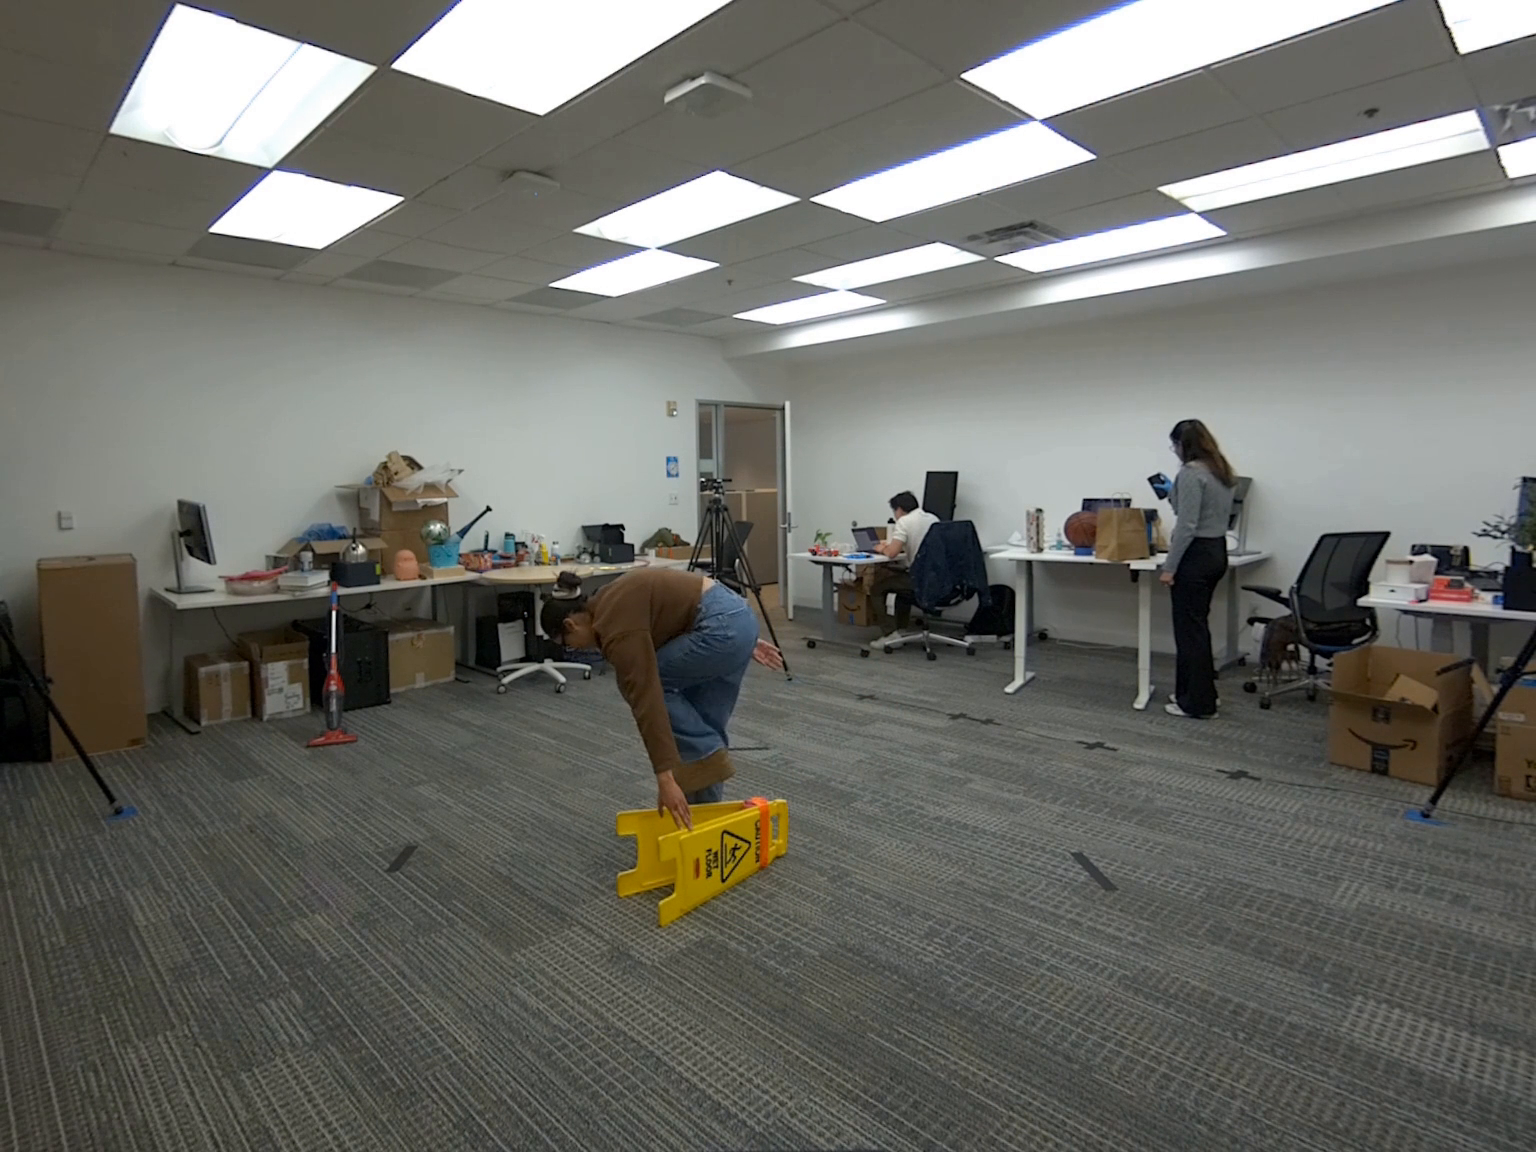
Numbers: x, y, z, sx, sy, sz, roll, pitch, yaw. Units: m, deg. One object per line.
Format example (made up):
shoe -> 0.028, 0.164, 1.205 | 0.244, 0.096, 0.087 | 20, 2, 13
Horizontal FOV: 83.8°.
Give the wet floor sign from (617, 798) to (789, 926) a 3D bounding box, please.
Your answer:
wet floor sign -> -0.181, 0.935, 2.972 | 0.628, 0.281, 0.298 | -3, 5, -40
